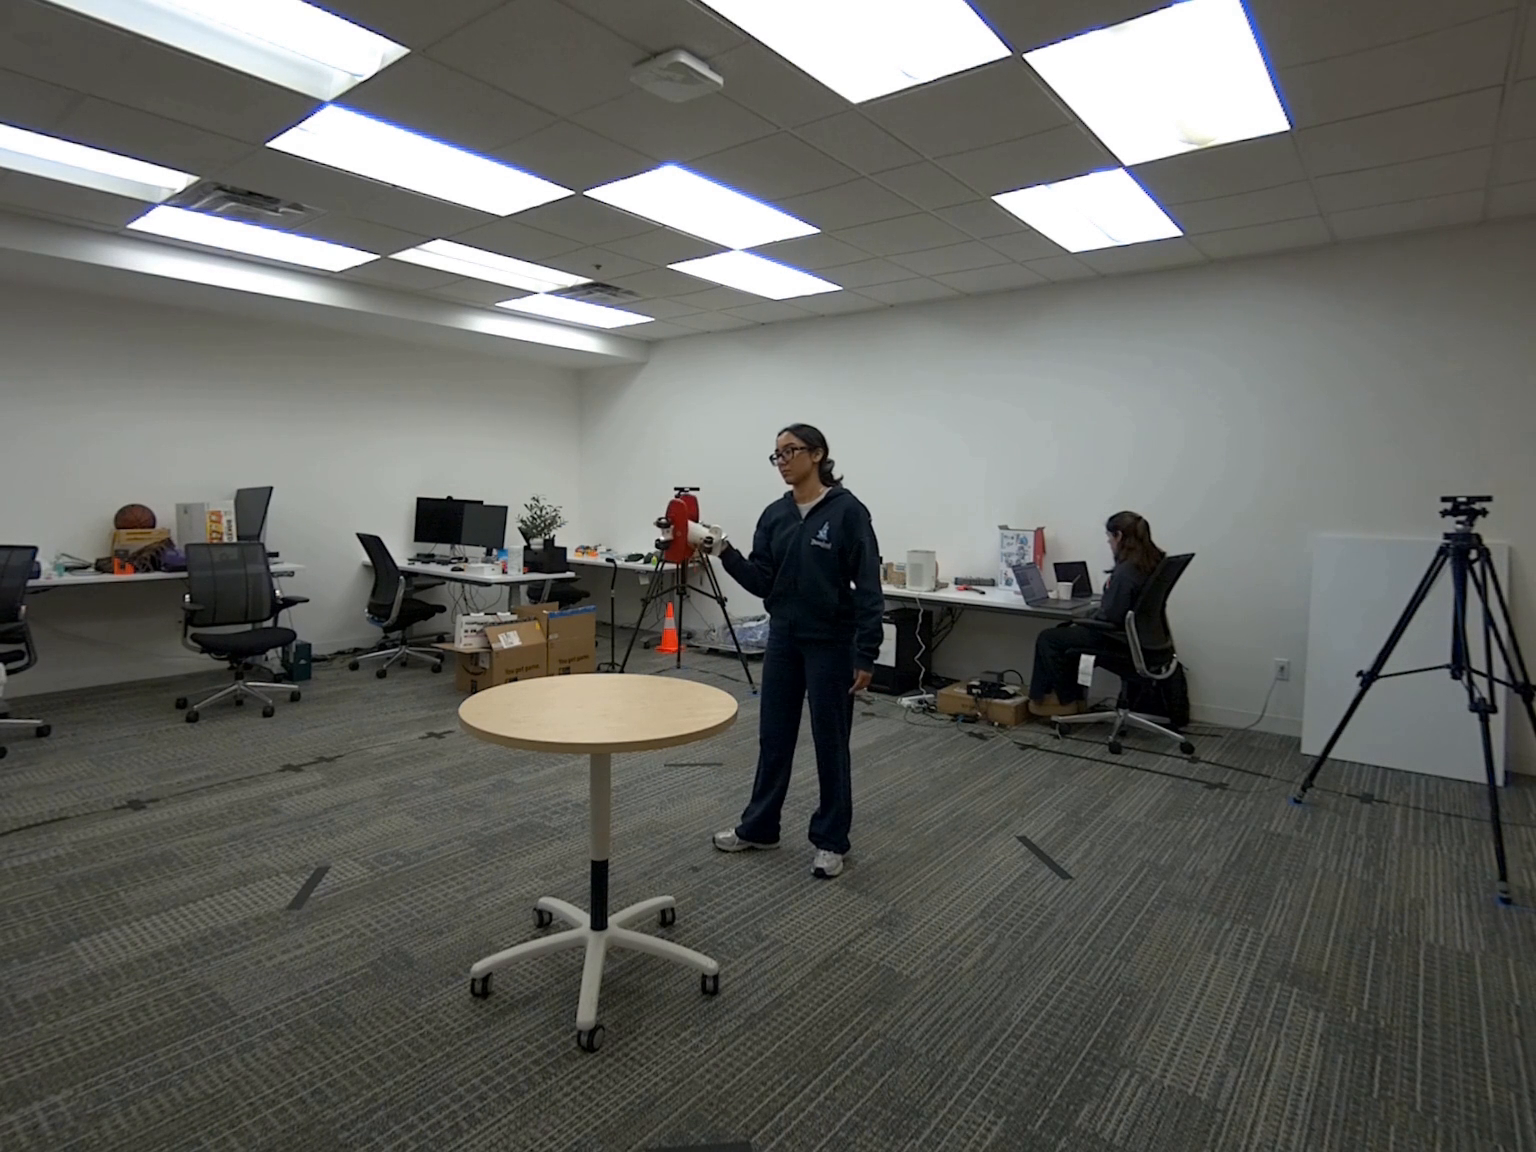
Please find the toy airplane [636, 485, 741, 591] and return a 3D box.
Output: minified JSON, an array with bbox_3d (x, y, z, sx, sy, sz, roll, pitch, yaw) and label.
[{"bbox_3d":[-0.295,-0.143,3.111,0.260,0.250,0.157,38,28,0],"label":"toy airplane"}]
